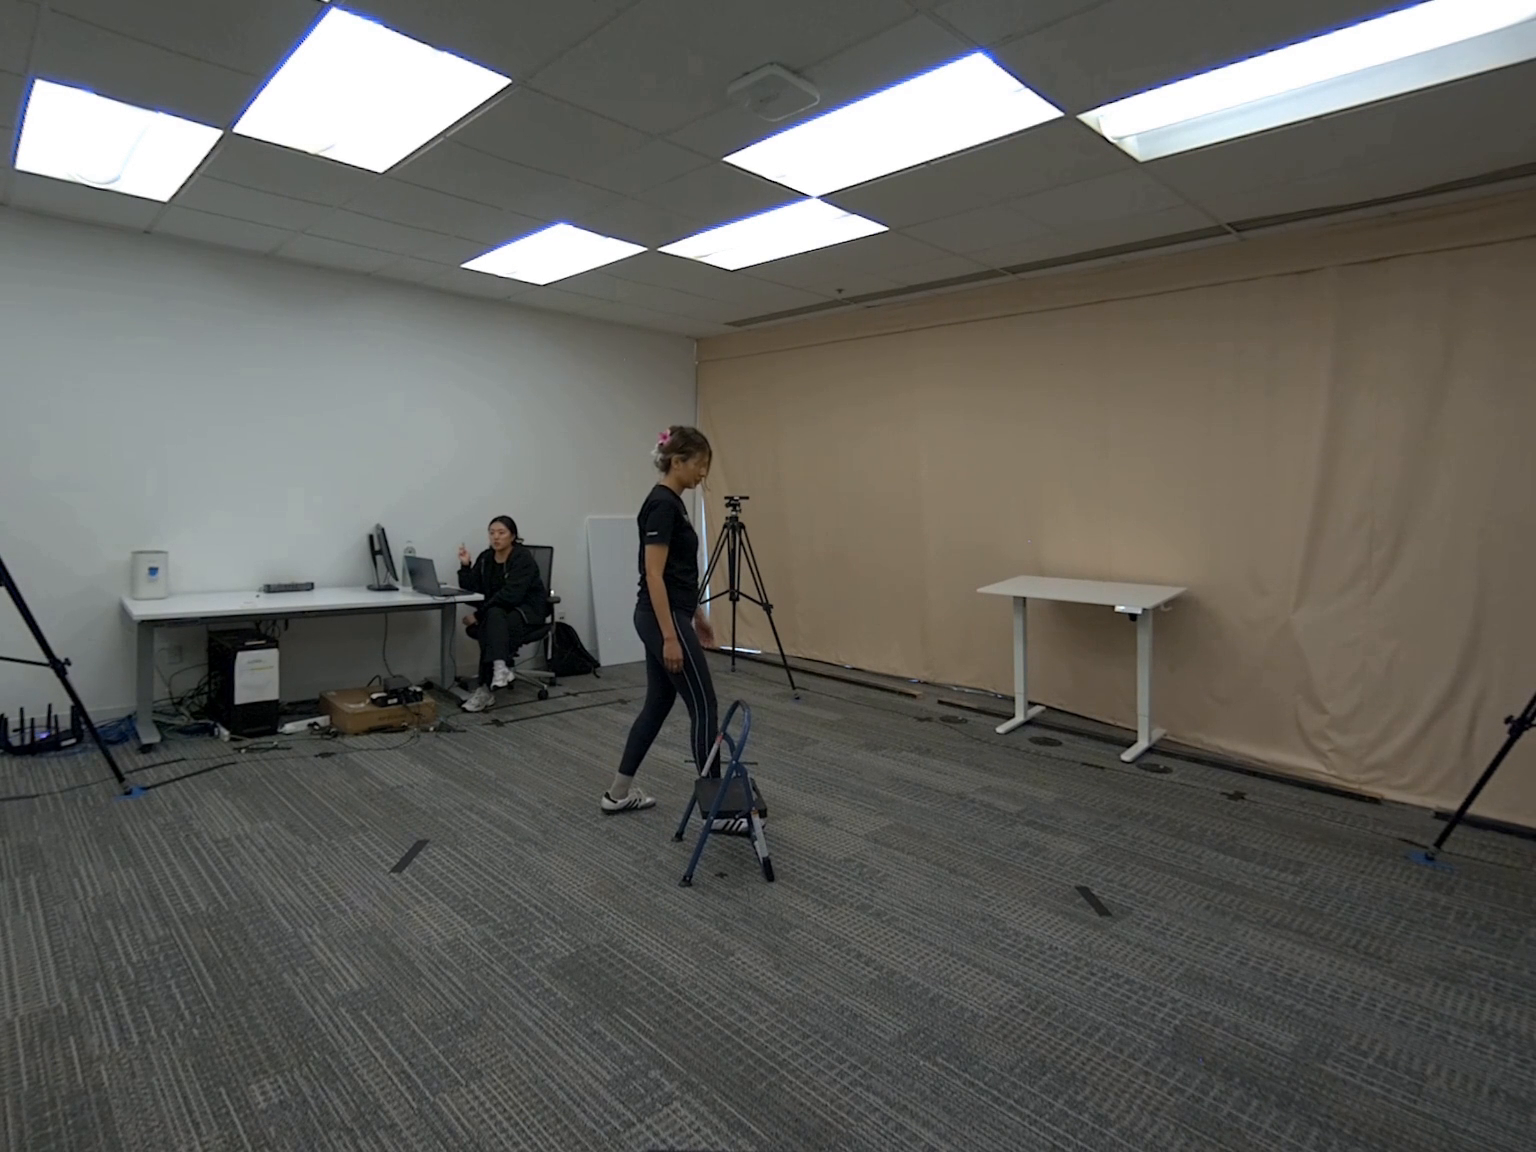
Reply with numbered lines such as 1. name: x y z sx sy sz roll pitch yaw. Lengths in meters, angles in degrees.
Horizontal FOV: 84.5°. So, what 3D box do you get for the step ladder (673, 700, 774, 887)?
1. step ladder: -0.178 0.794 3.216 0.347 0.604 0.435 1 4 -10
